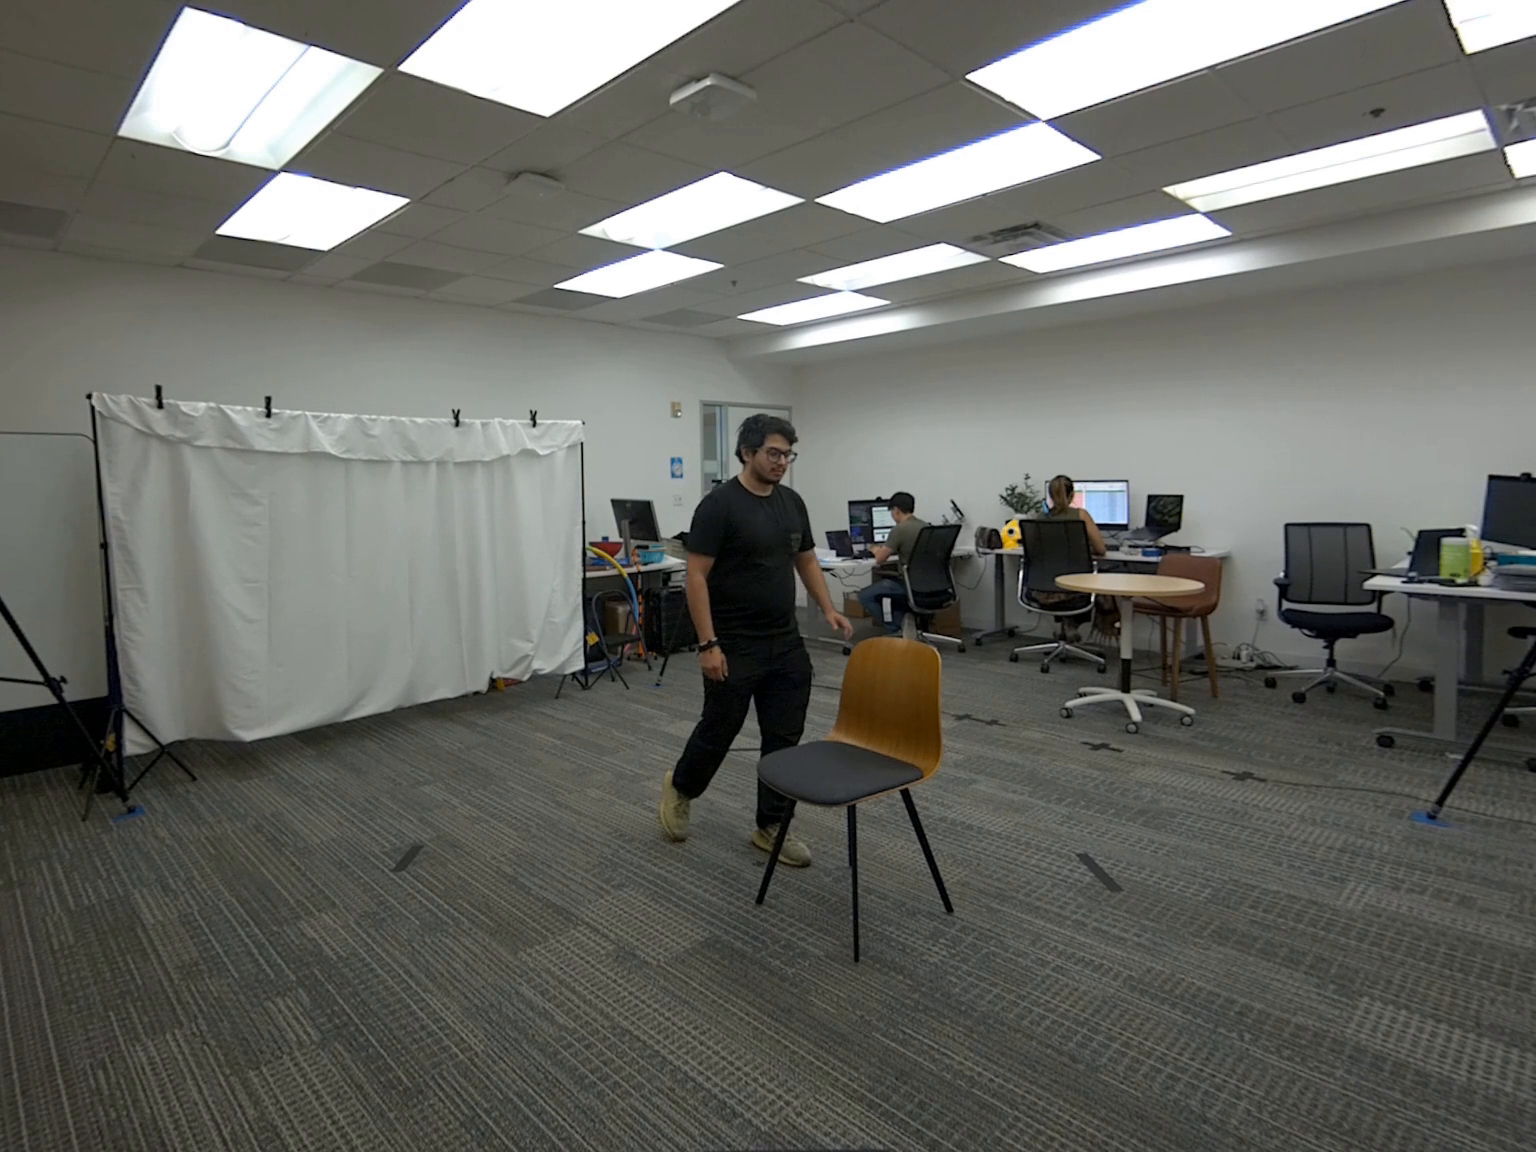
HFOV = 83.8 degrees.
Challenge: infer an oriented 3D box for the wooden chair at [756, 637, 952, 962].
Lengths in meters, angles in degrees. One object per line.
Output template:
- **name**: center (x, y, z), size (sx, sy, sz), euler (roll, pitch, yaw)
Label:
- **wooden chair**: center (0.265, 0.655, 2.736), size (0.508, 0.876, 0.492), euler (1, 2, -40)
